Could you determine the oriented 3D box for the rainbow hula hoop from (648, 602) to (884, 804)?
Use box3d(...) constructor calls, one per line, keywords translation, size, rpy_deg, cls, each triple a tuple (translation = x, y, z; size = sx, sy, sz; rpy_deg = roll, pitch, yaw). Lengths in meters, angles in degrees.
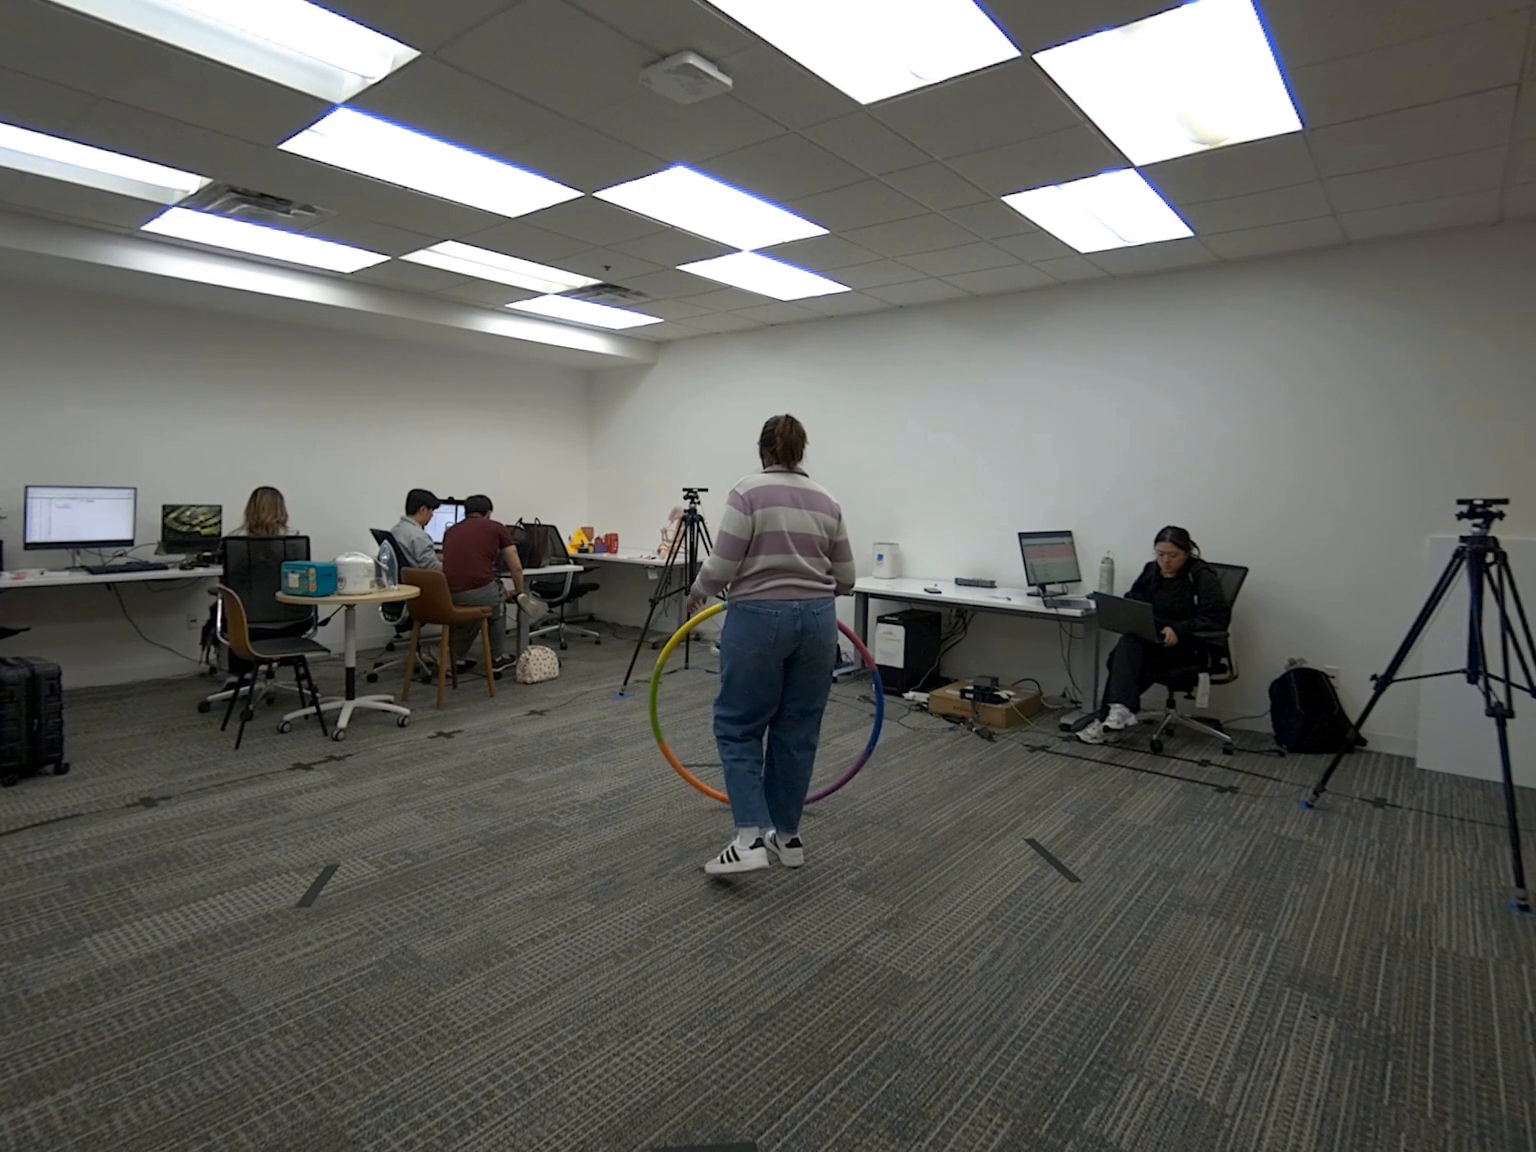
box3d(translation=(-0.026, 0.550, 3.583), size=(0.989, 0.973, 0.052), rpy_deg=(1, 13, 4), cls="rainbow hula hoop")
